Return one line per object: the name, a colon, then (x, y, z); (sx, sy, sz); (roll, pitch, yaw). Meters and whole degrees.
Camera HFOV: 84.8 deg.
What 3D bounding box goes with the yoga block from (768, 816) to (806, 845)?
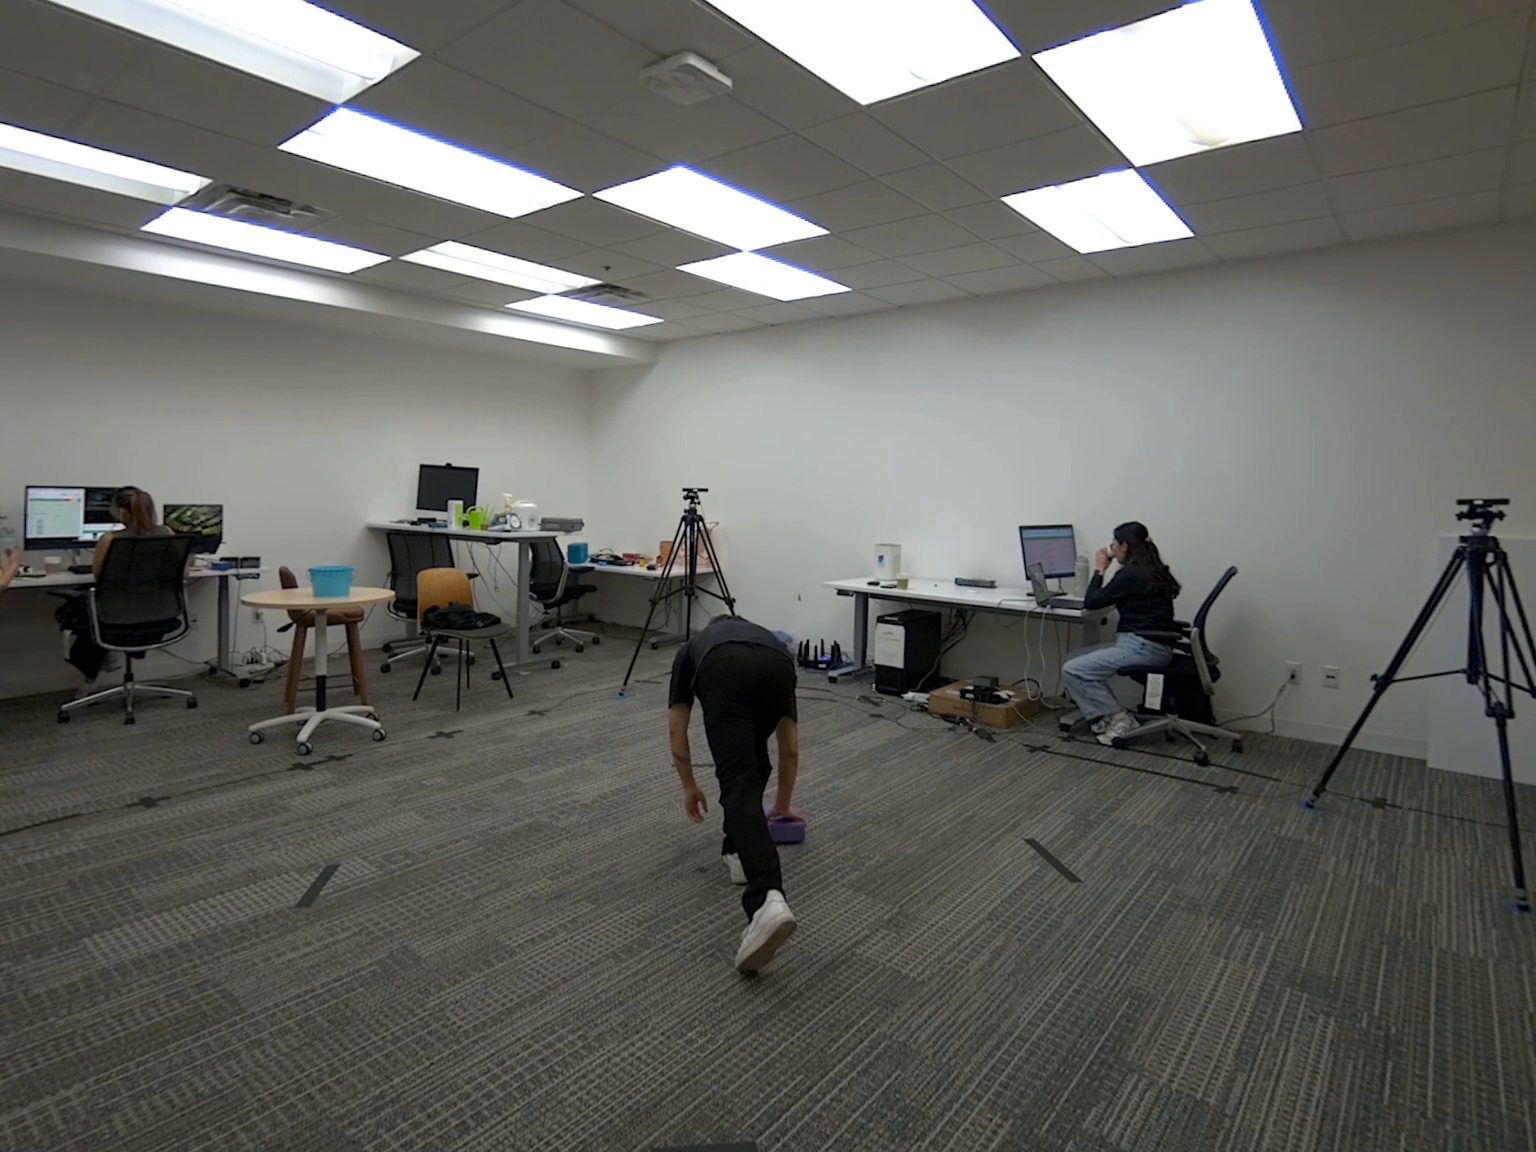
yoga block: (0.025, 0.990, 3.460); (0.146, 0.076, 0.233); (2, 3, -16)
